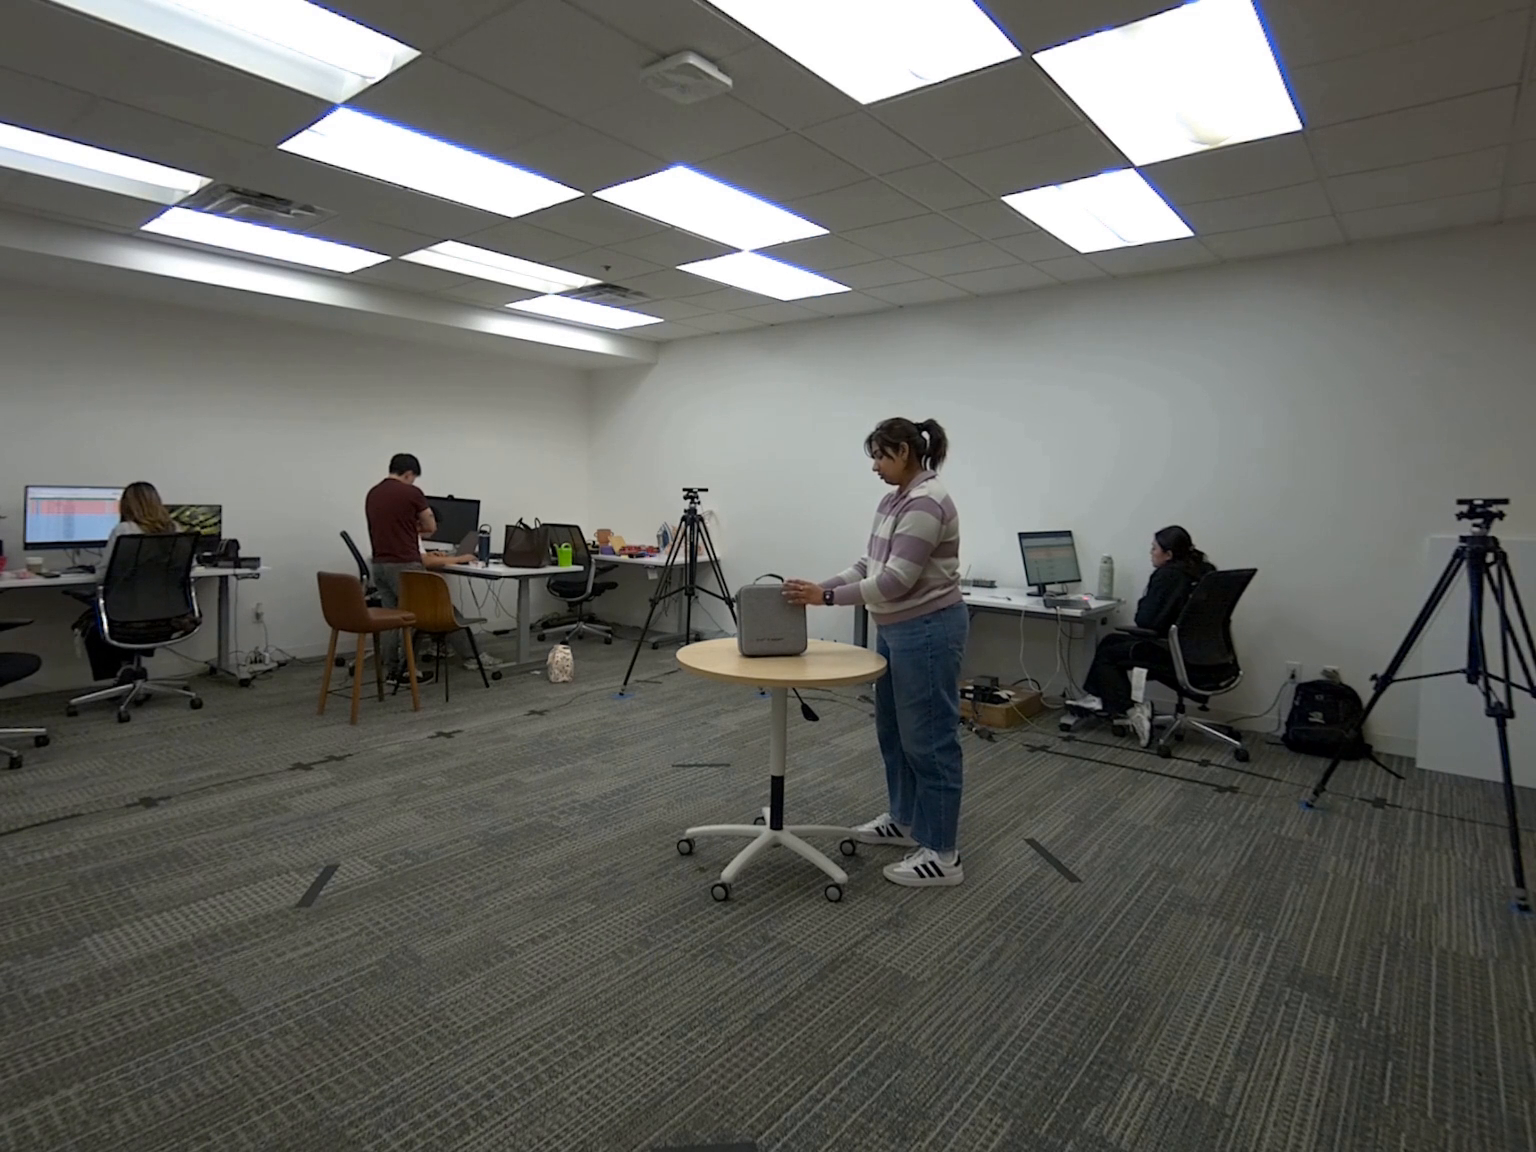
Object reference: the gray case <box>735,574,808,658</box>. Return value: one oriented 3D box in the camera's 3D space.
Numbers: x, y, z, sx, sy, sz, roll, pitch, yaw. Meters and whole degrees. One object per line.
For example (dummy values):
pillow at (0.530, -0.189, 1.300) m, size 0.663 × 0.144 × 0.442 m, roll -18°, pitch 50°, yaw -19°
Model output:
gray case at (0.004, 0.157, 3.140) m, size 0.253 × 0.262 × 0.105 m, roll 0°, pitch -8°, yaw -12°
